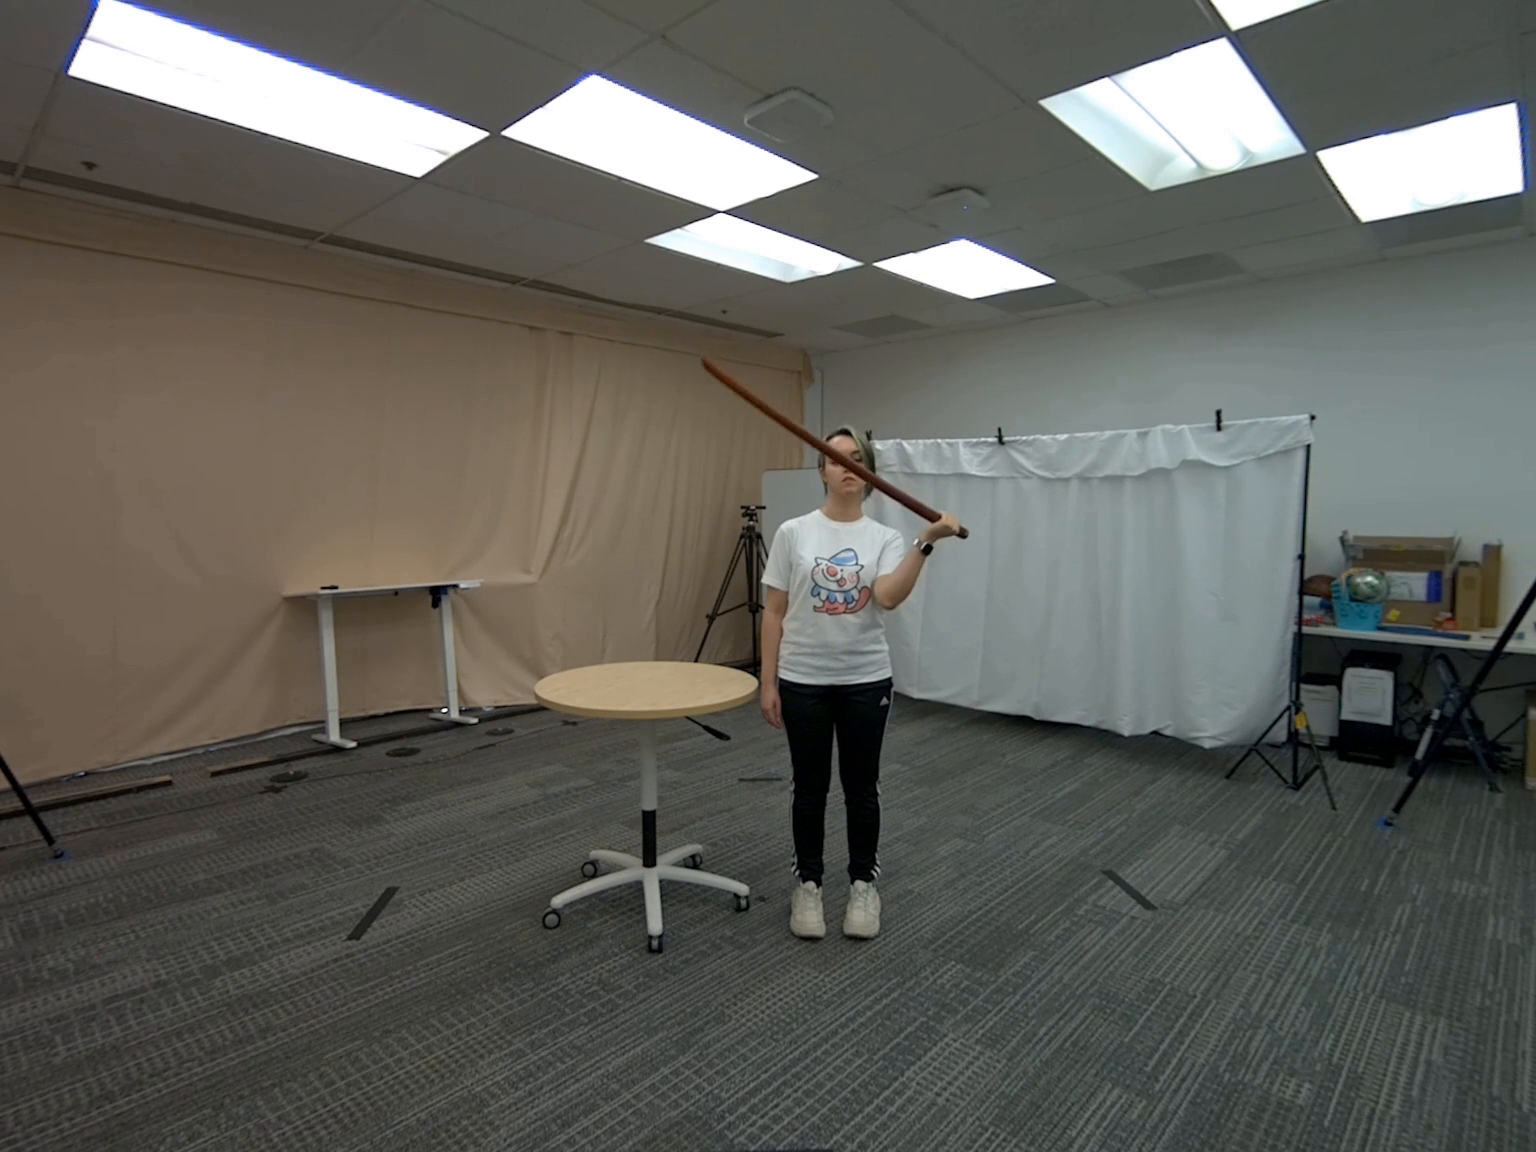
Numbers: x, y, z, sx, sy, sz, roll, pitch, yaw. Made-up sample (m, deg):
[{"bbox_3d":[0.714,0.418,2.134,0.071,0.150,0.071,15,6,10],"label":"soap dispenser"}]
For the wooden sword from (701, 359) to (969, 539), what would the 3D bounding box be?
[{"bbox_3d":[0.218,-0.317,2.362,0.996,0.051,0.025,29,1,-25],"label":"wooden sword"}]
